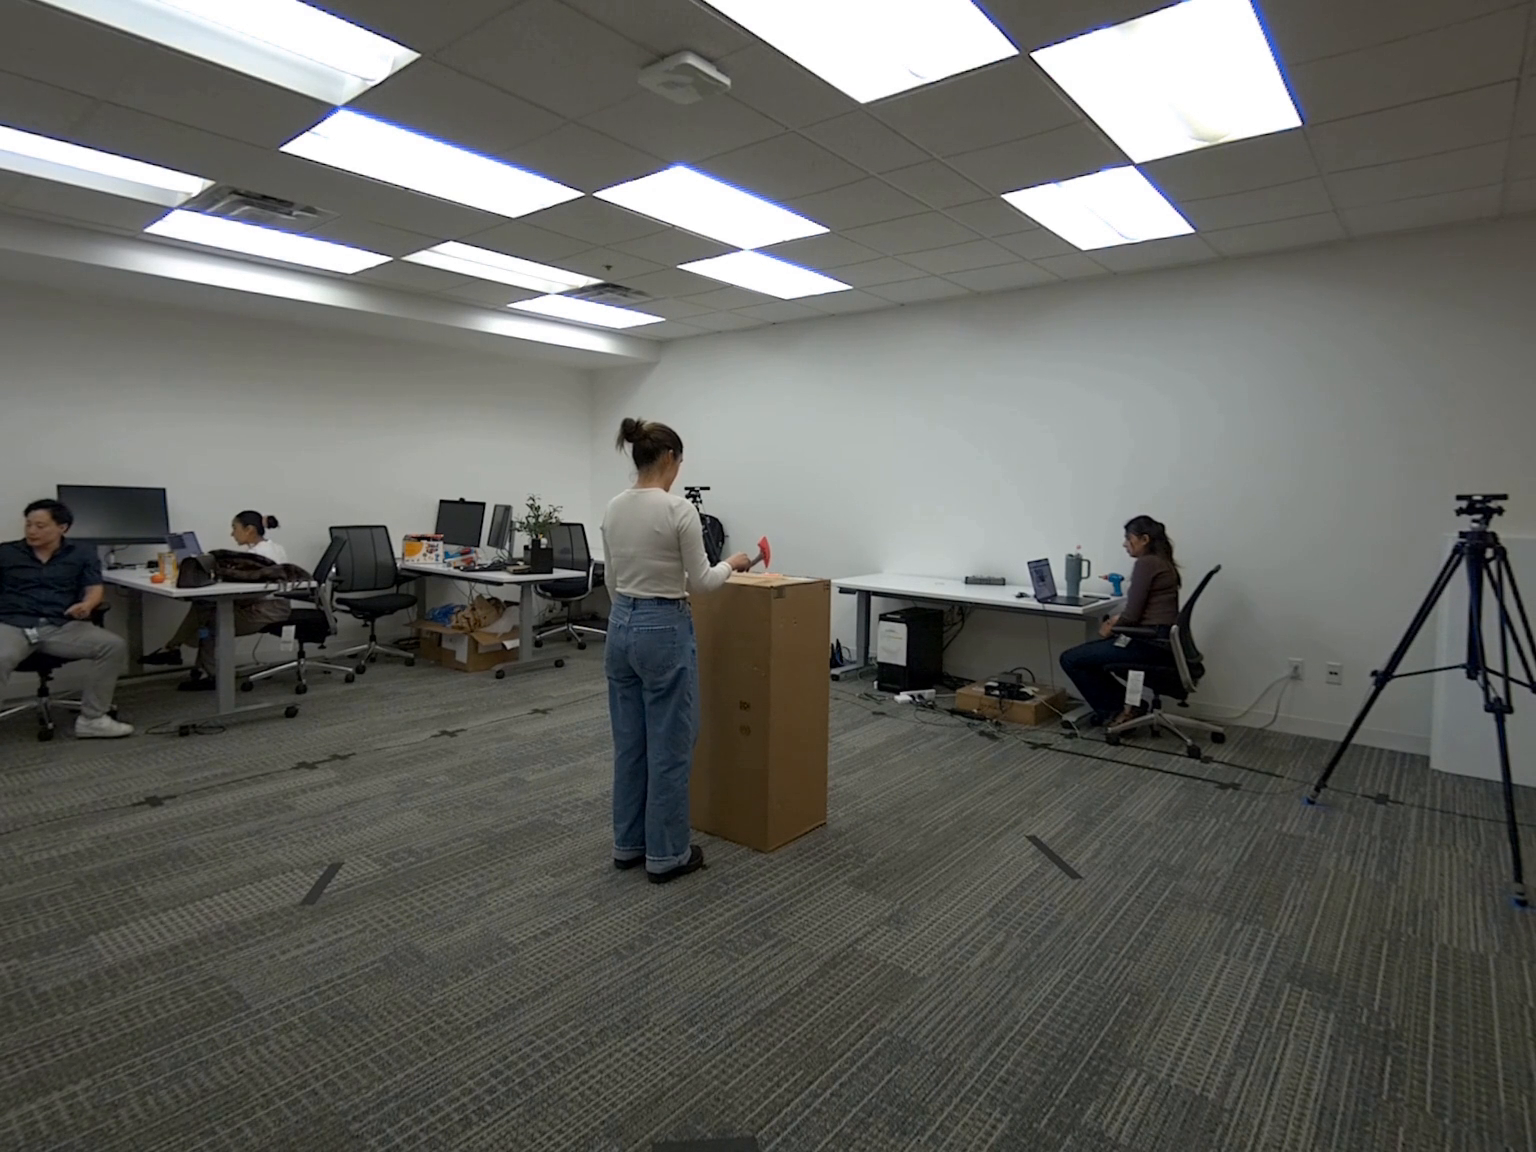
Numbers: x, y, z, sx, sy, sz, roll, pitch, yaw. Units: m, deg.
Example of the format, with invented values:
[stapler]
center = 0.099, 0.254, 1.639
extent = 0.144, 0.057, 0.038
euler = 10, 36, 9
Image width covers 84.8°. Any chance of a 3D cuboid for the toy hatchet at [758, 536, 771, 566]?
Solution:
[toy hatchet]
center = -0.058, -0.089, 3.336
extent = 0.030, 0.131, 0.264
euler = 6, 5, 24
